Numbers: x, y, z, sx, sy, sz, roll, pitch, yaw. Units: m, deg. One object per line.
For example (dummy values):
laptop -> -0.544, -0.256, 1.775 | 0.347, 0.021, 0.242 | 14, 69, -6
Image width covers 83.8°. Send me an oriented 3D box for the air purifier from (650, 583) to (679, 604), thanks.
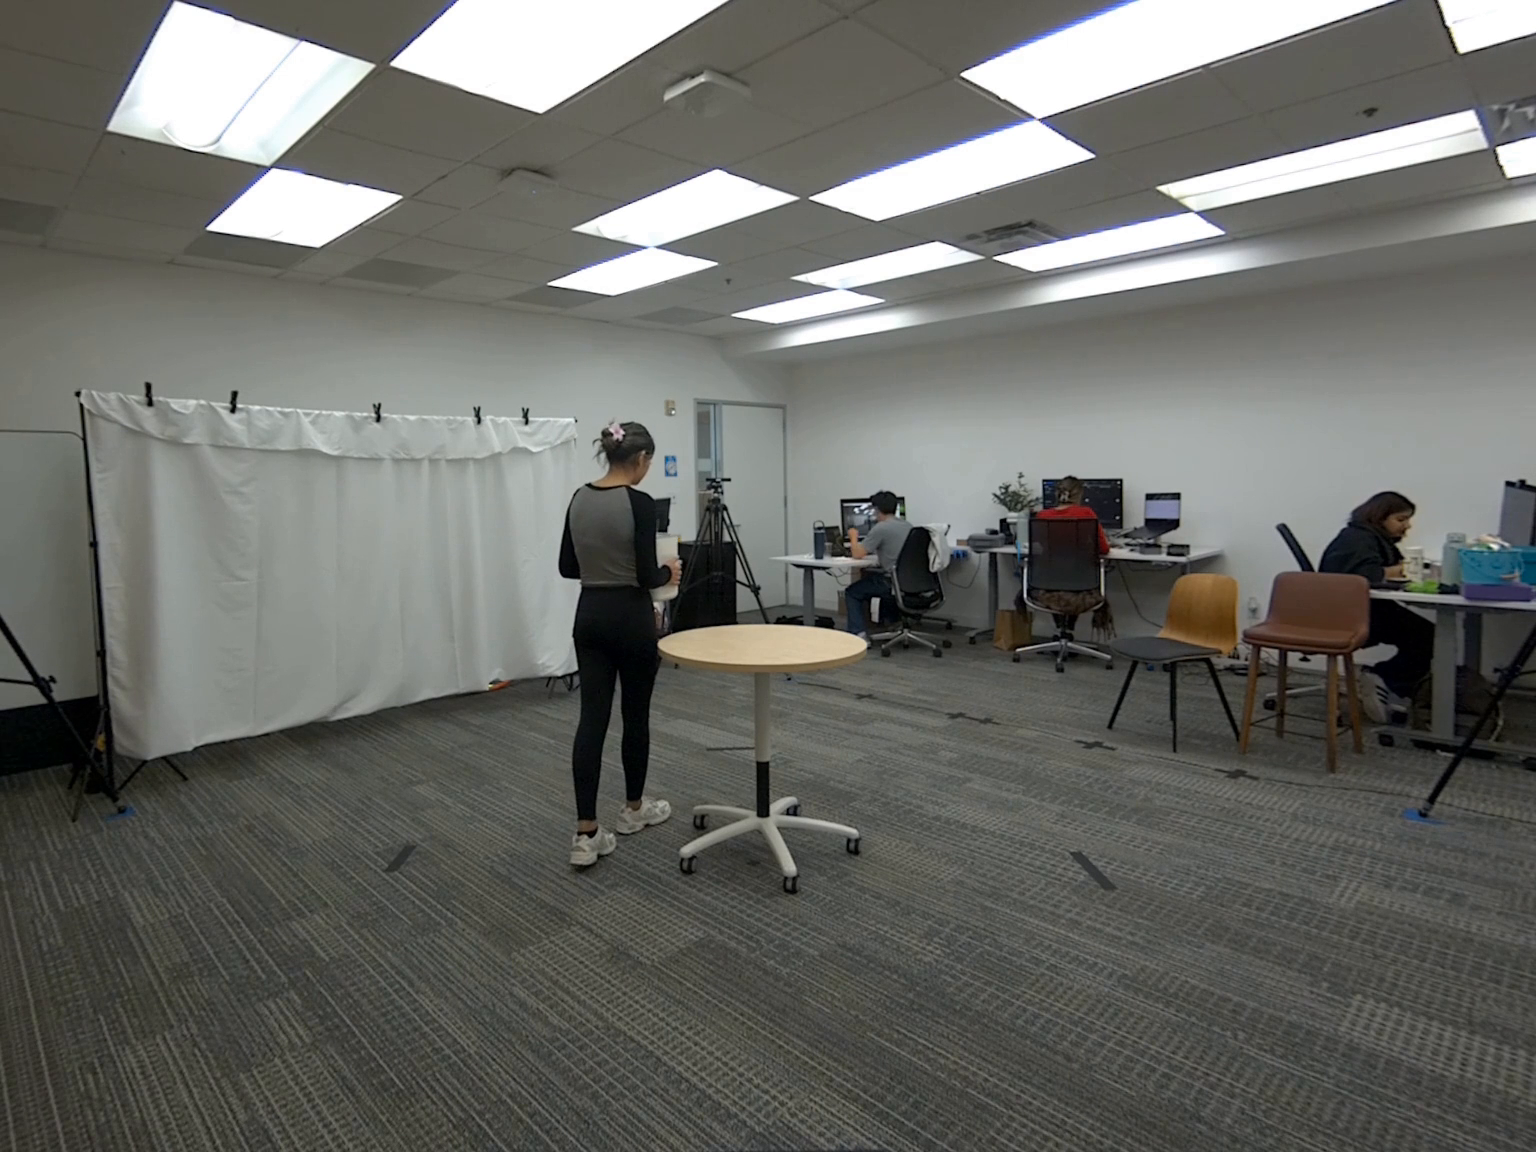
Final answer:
air purifier -> -0.474, -0.035, 3.489 | 0.176, 0.264, 0.167 | 4, 7, 30
